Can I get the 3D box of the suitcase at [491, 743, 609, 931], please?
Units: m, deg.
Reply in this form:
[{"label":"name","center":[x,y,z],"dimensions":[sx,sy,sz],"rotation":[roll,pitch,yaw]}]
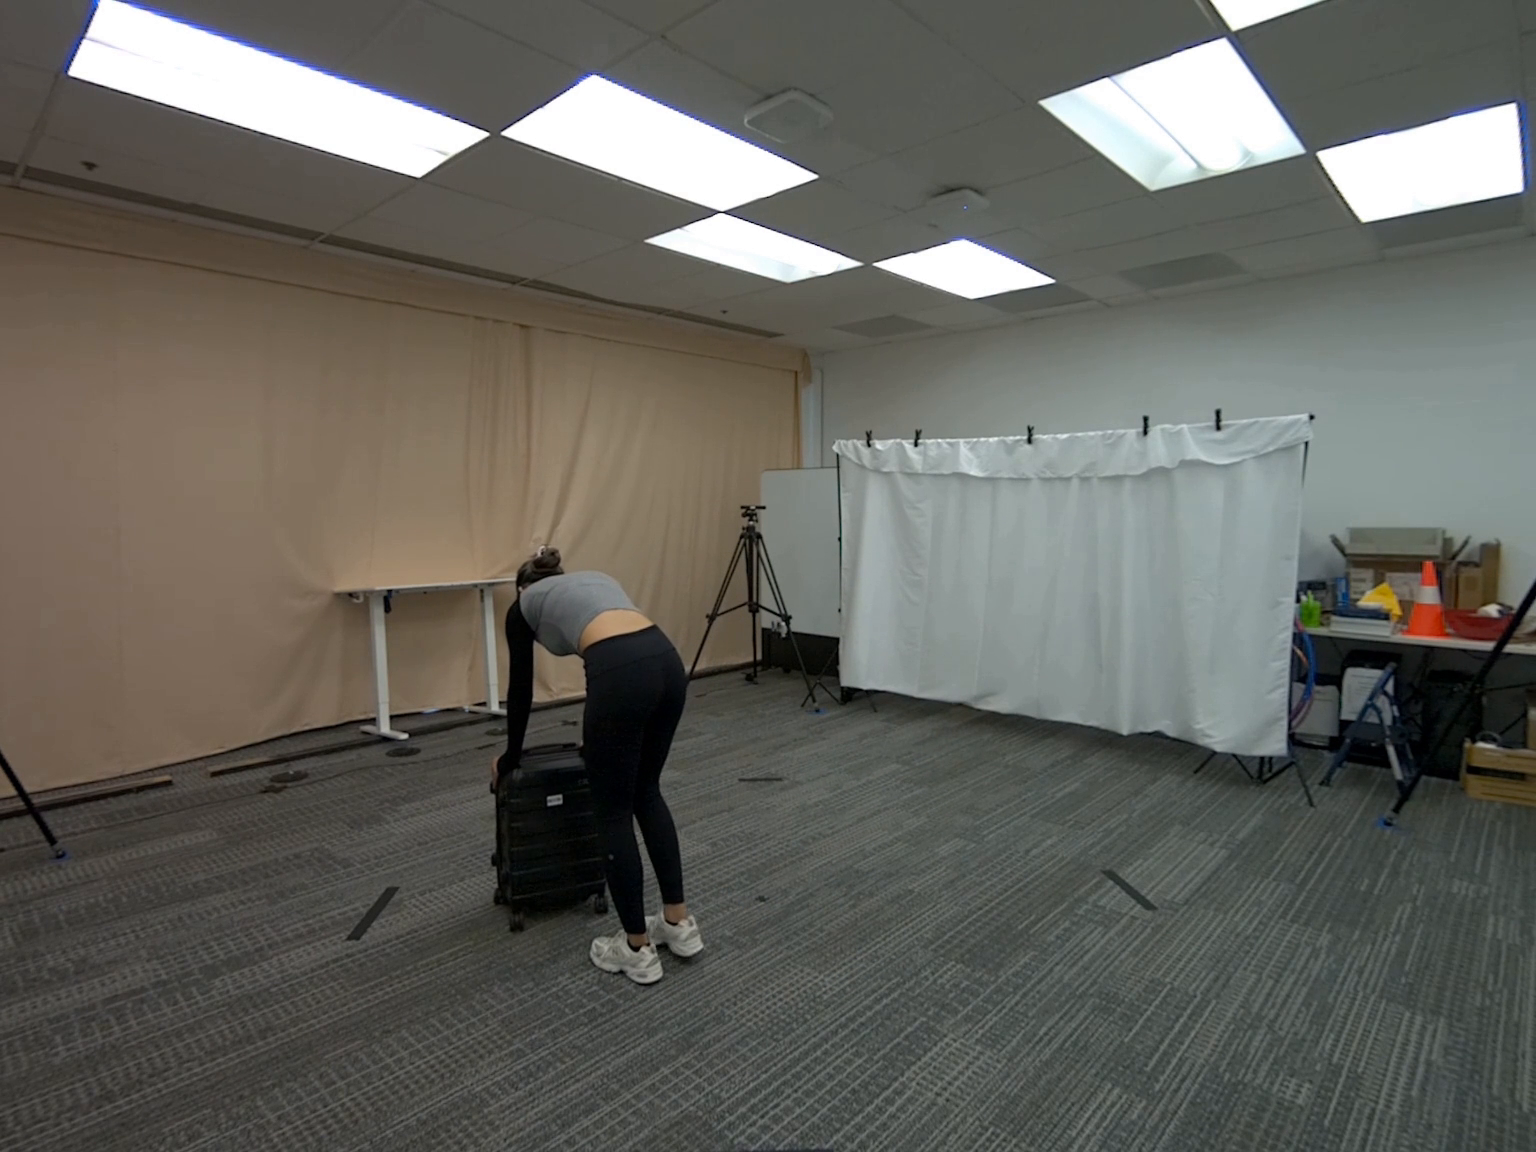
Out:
[{"label":"suitcase","center":[-0.766,0.878,2.947],"dimensions":[0.366,0.549,0.255],"rotation":[-1,2,-26]}]
